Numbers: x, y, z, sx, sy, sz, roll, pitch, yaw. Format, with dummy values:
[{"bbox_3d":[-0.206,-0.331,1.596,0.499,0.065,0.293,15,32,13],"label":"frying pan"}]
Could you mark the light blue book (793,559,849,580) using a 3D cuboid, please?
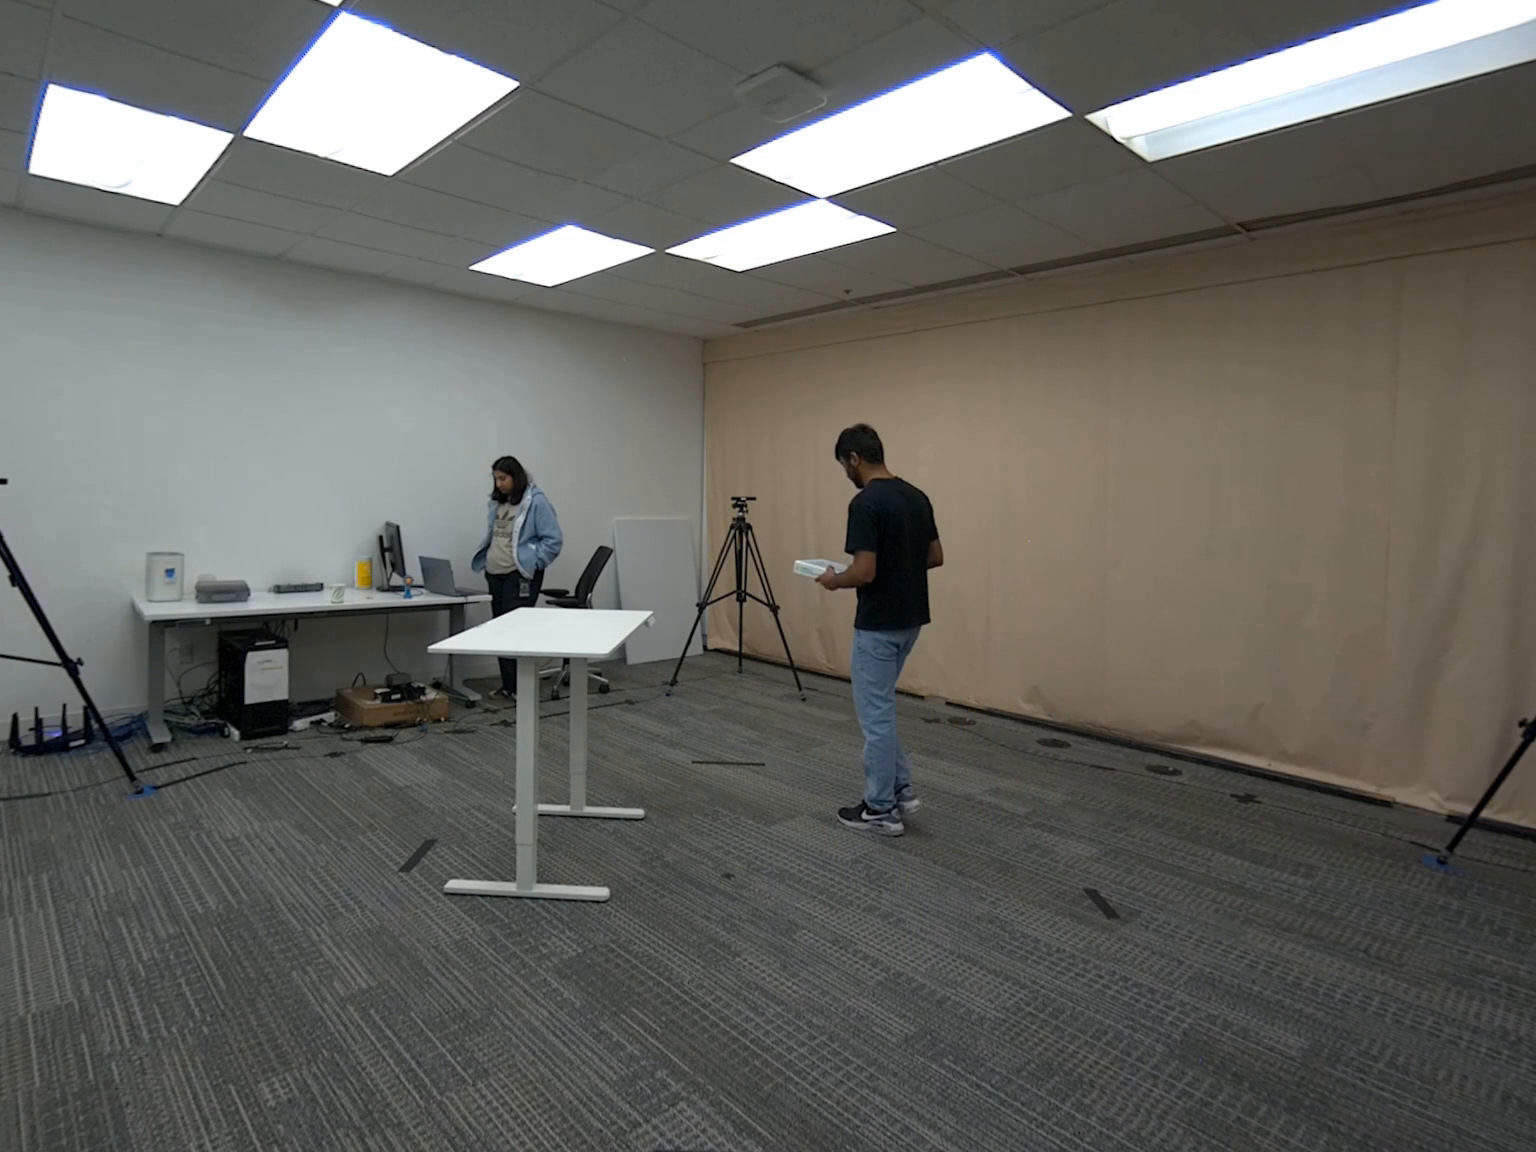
[{"bbox_3d":[0.275,-0.013,3.797,0.187,0.058,0.268,-5,14,-43],"label":"light blue book"}]
